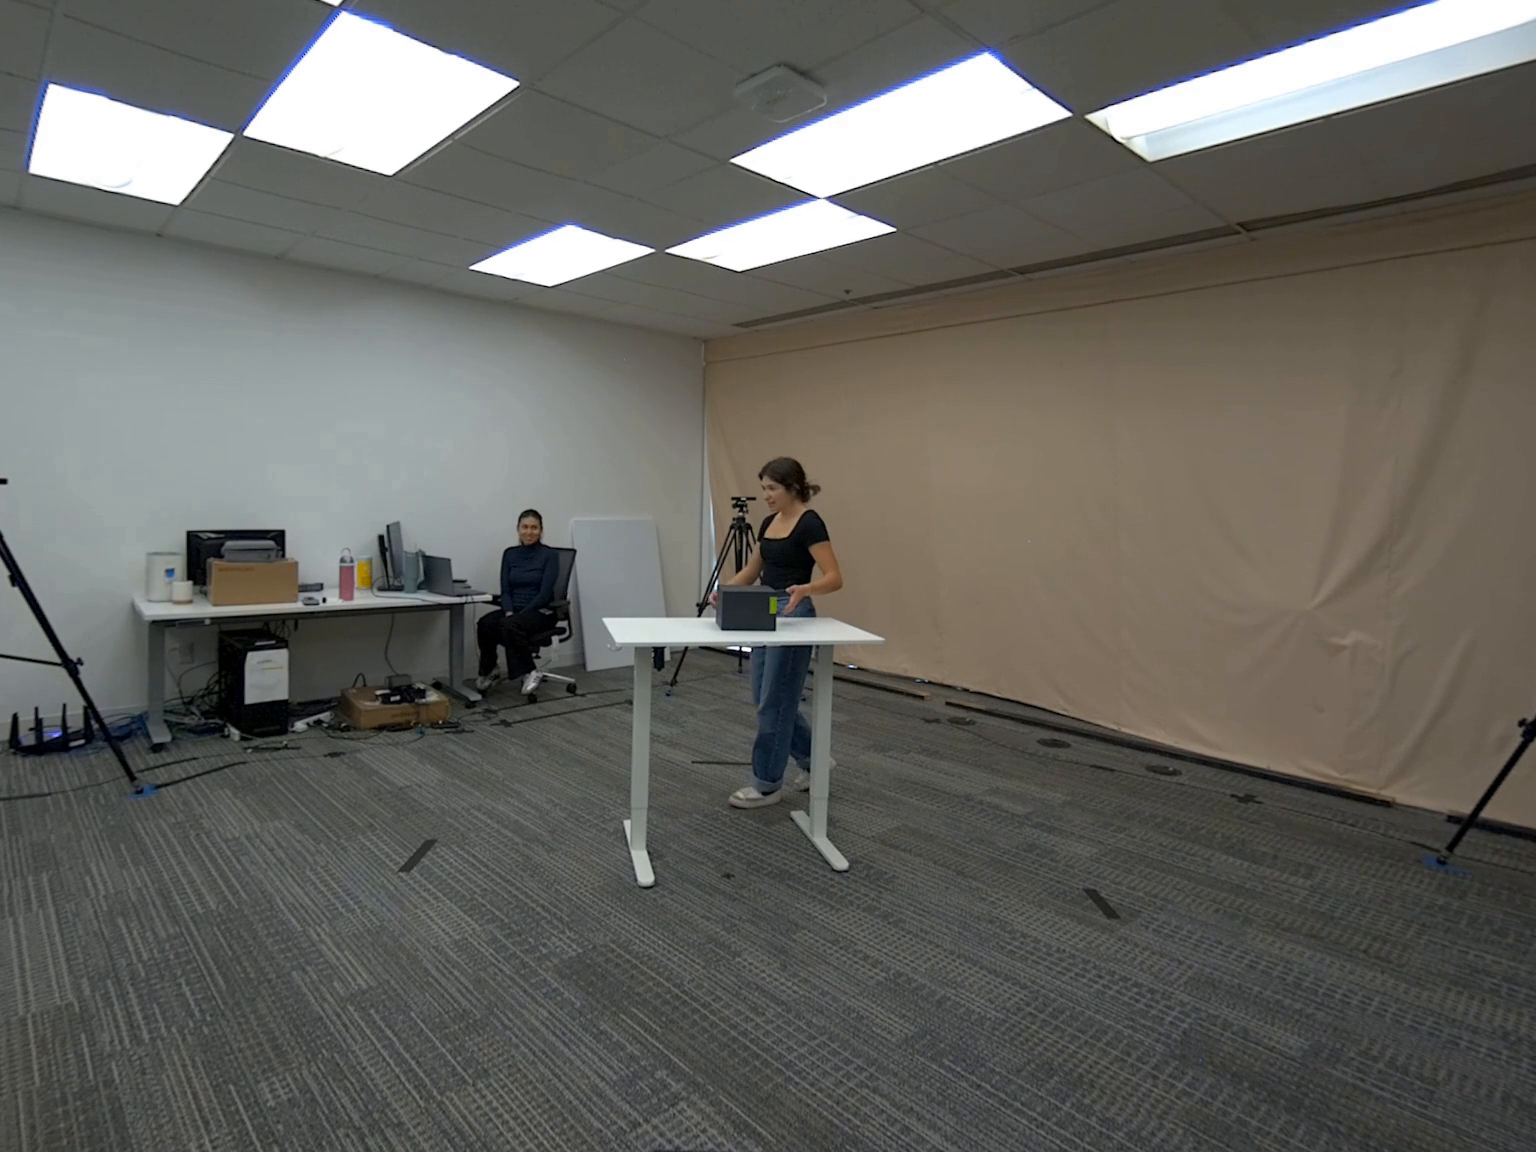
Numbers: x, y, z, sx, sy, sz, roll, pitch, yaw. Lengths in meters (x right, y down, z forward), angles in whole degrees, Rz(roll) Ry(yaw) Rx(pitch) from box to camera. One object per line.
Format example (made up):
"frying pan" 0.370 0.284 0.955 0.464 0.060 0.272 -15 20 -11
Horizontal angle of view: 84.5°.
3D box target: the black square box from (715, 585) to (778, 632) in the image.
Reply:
"black square box" -0.090 0.122 3.355 0.216 0.155 0.229 1 4 -5
